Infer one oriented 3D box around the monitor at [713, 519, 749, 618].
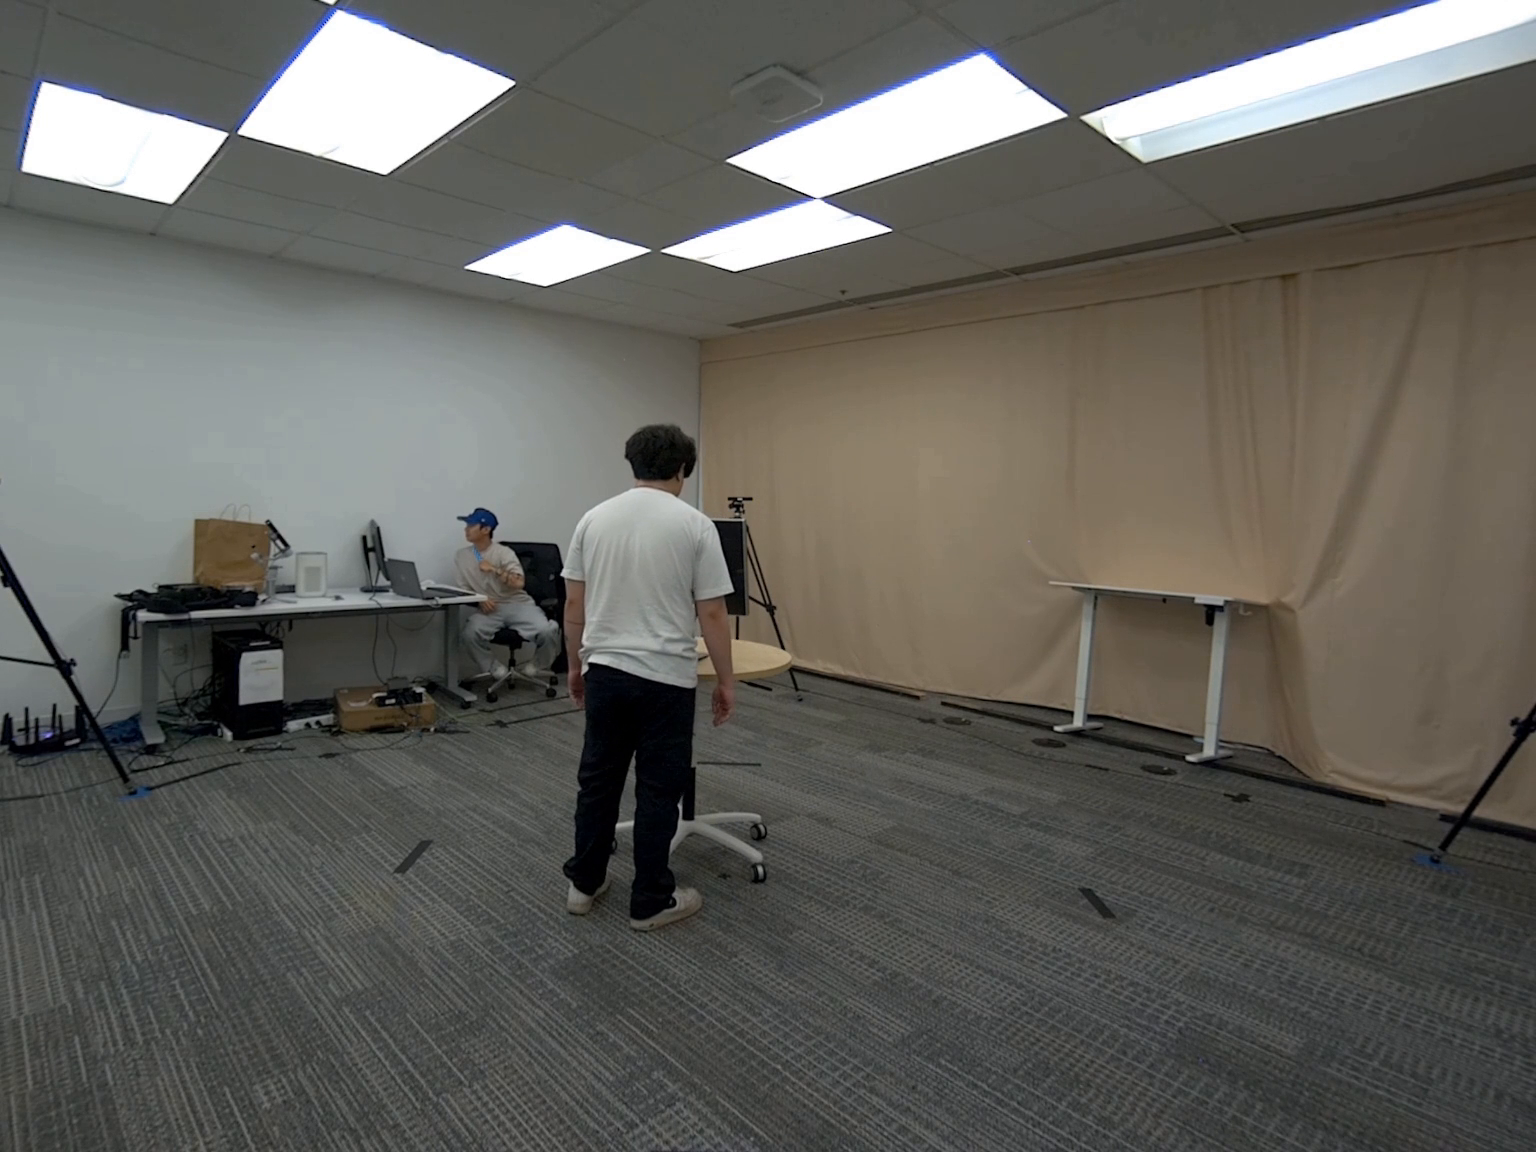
[{"bbox_3d":[-0.374,0.055,3.129,0.575,0.551,0.207,3,7,22],"label":"monitor"}]
